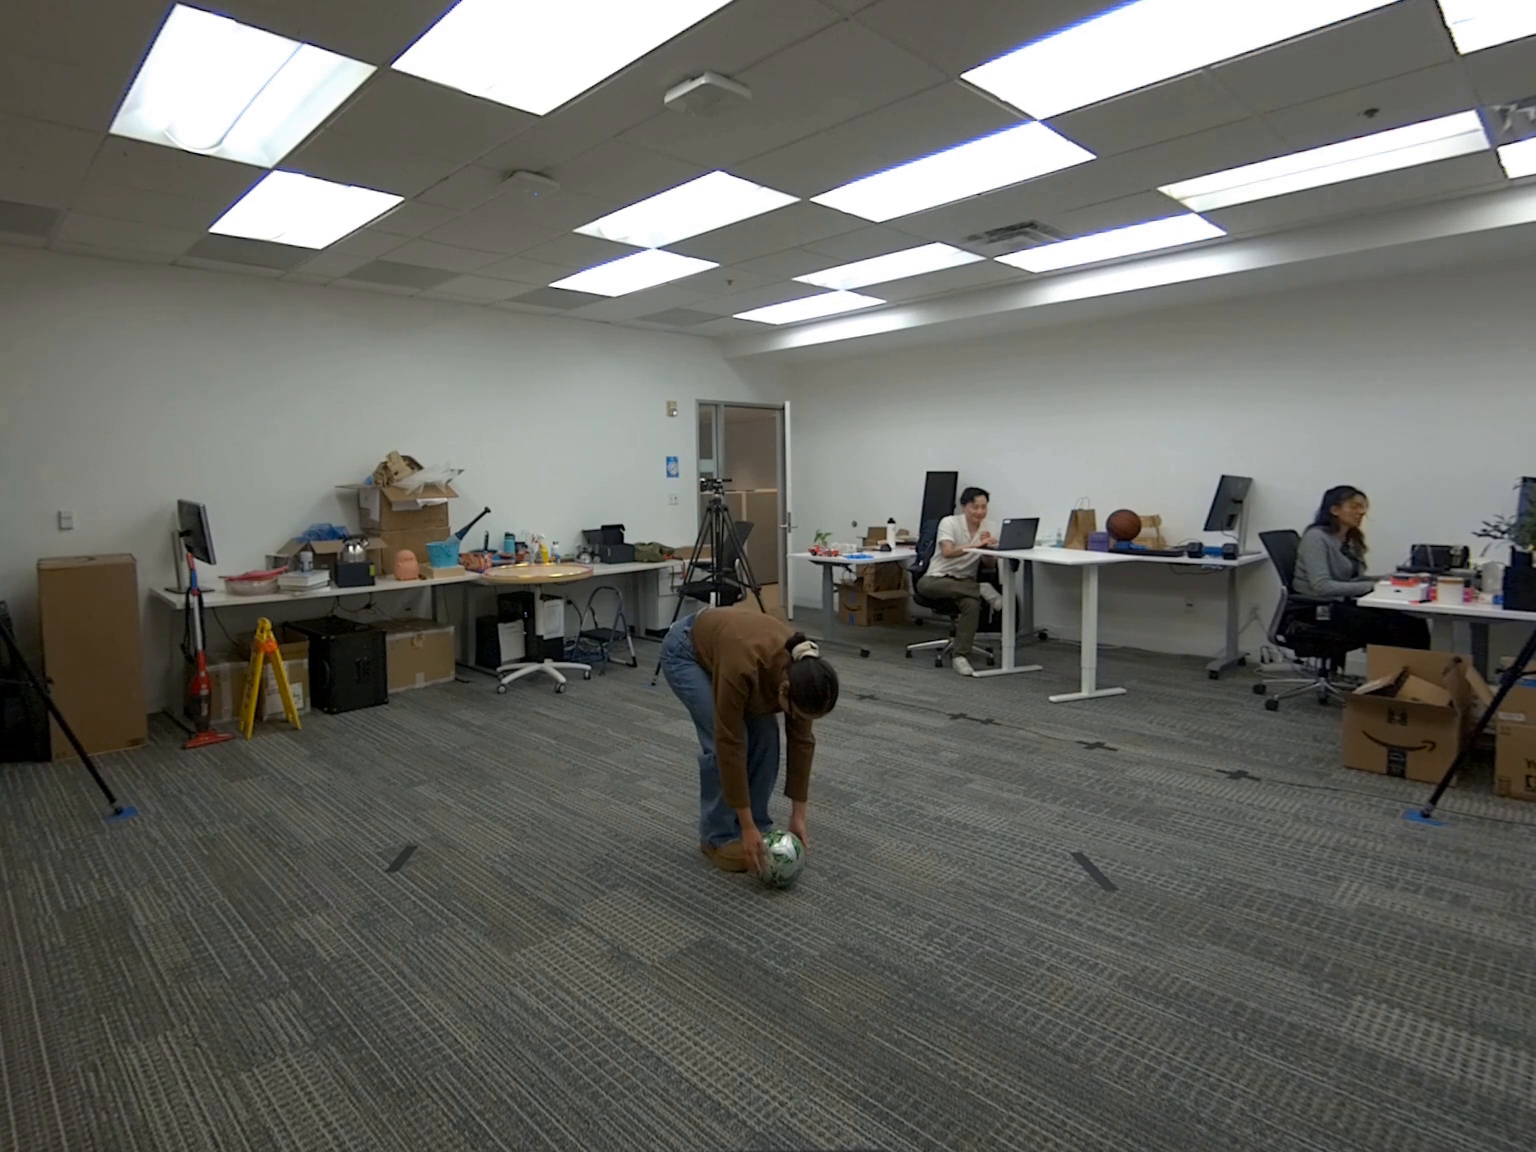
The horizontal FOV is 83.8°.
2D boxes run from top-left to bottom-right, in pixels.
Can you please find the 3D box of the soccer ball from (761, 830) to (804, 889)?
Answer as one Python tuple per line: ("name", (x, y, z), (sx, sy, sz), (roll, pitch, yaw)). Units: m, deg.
("soccer ball", (0.038, 0.971, 2.940), (0.187, 0.187, 0.188), (-1, 5, -2))
